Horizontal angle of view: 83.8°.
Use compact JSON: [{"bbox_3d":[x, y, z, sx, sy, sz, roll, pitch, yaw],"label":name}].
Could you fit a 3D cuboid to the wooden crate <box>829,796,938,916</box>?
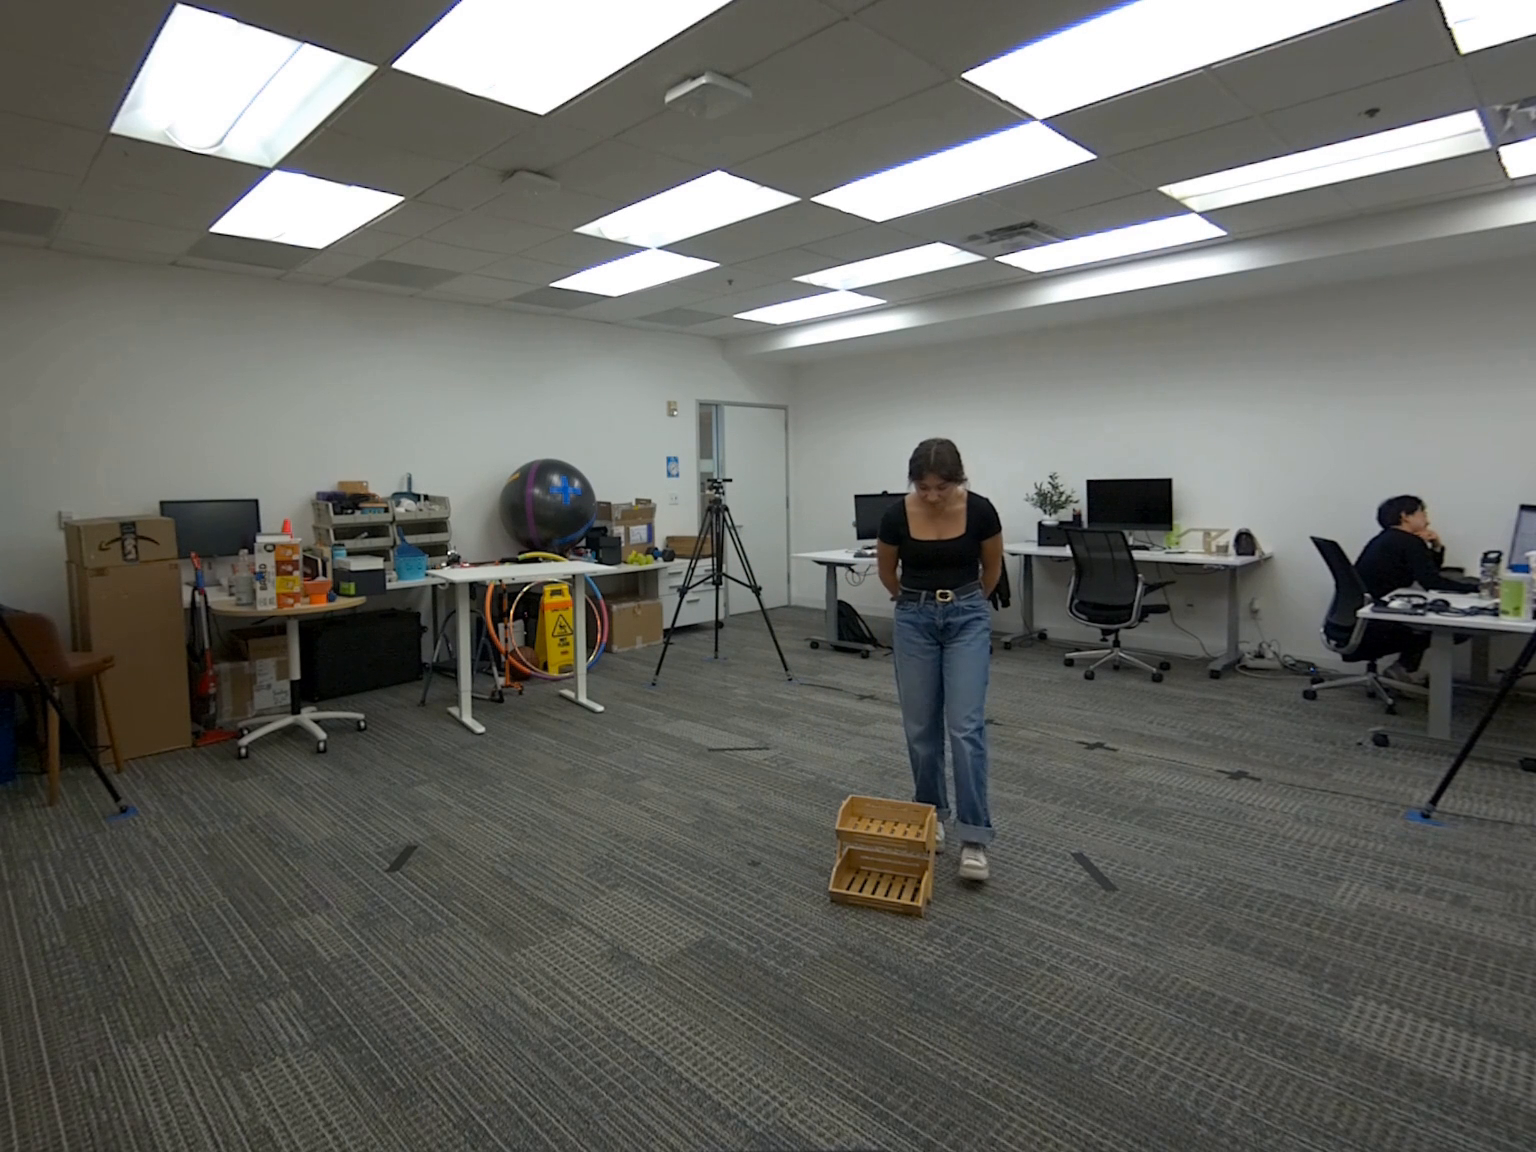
[{"bbox_3d":[0.393,0.931,2.869,0.331,0.272,0.297,1,5,21],"label":"wooden crate"}]
